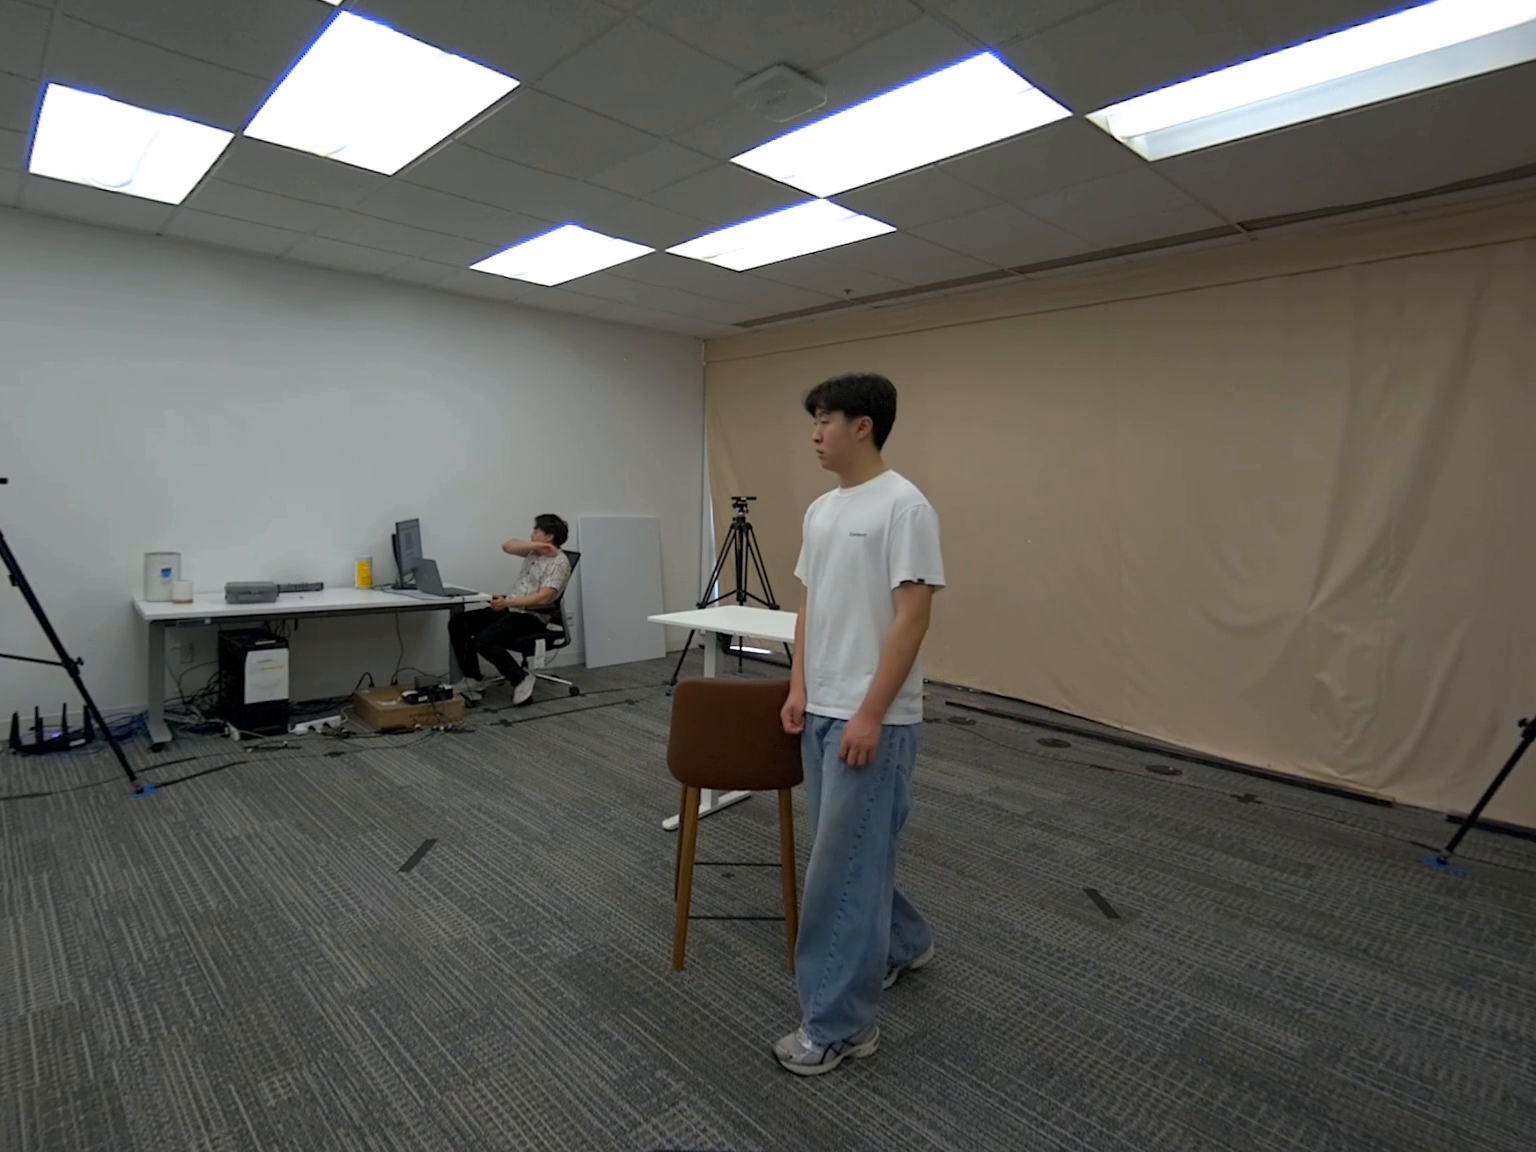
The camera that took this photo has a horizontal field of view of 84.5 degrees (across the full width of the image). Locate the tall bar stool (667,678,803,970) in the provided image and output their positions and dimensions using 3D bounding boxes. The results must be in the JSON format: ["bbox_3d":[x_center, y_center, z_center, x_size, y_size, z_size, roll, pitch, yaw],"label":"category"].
[{"bbox_3d":[-0.105,0.712,2.662,0.456,0.886,0.470,1,6,-1],"label":"tall bar stool"}]
